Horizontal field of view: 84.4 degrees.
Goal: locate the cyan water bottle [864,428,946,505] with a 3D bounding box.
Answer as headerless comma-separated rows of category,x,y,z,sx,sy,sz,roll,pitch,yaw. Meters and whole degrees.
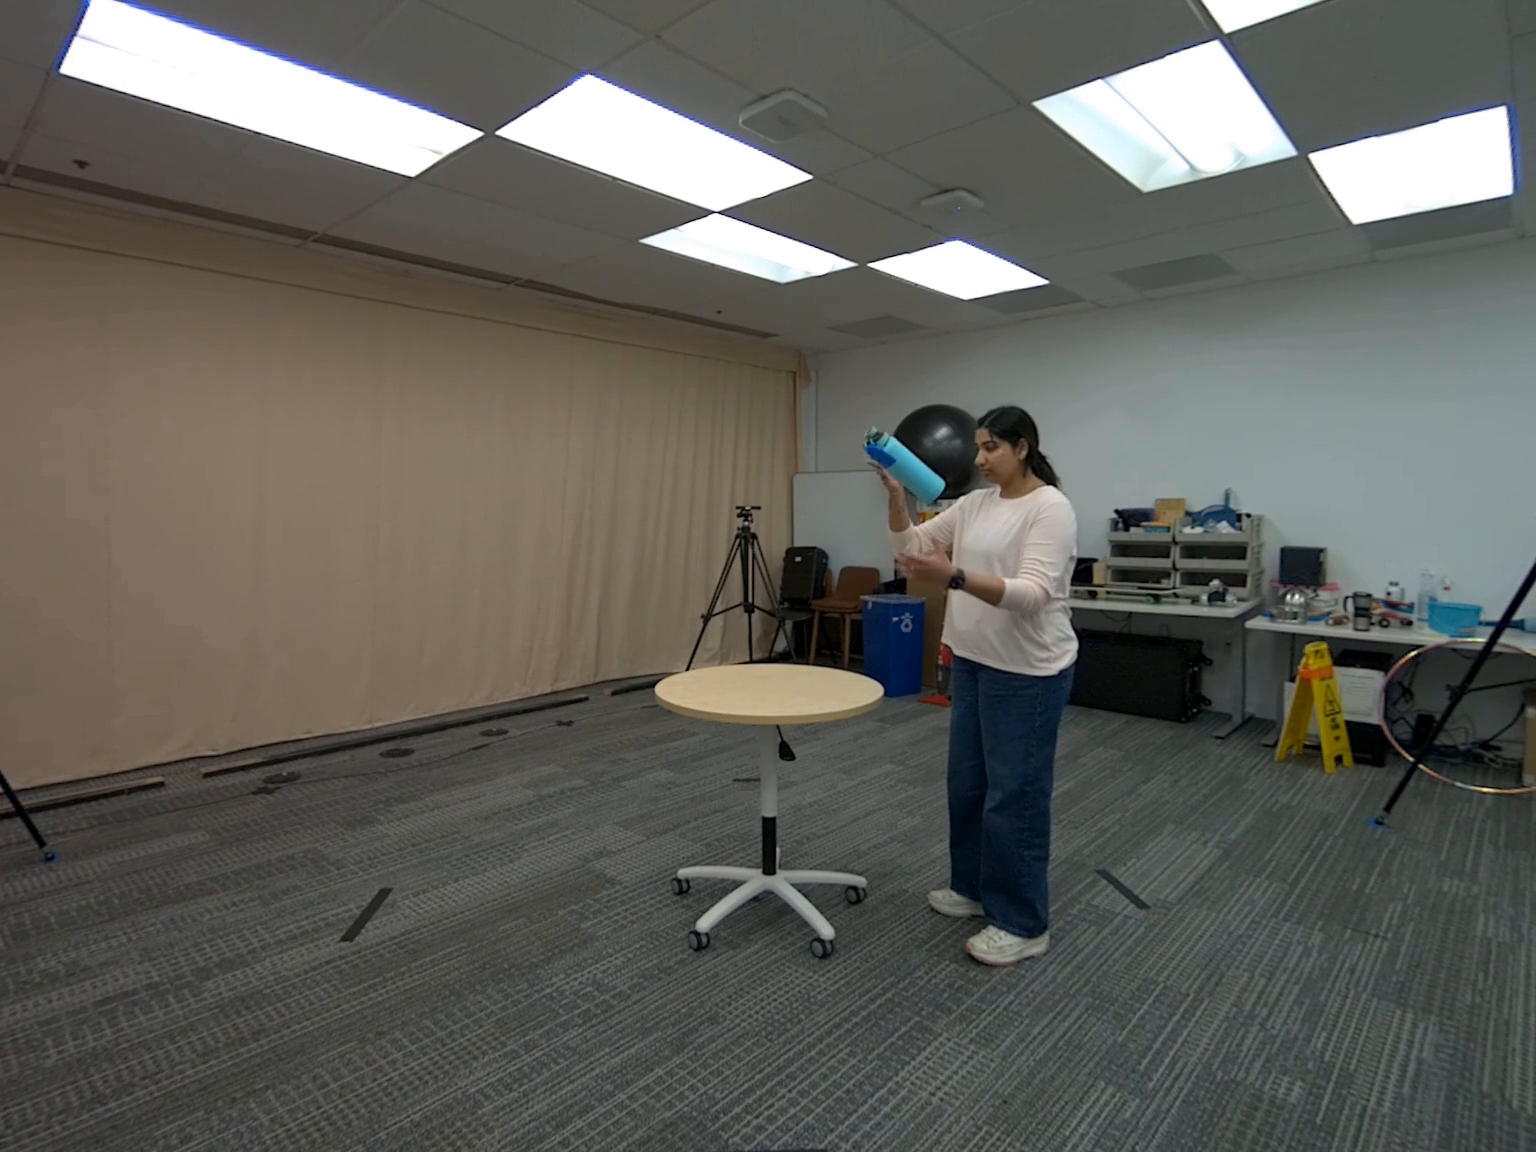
cyan water bottle,0.414,-0.290,2.551,0.280,0.092,0.093,40,-5,-11
